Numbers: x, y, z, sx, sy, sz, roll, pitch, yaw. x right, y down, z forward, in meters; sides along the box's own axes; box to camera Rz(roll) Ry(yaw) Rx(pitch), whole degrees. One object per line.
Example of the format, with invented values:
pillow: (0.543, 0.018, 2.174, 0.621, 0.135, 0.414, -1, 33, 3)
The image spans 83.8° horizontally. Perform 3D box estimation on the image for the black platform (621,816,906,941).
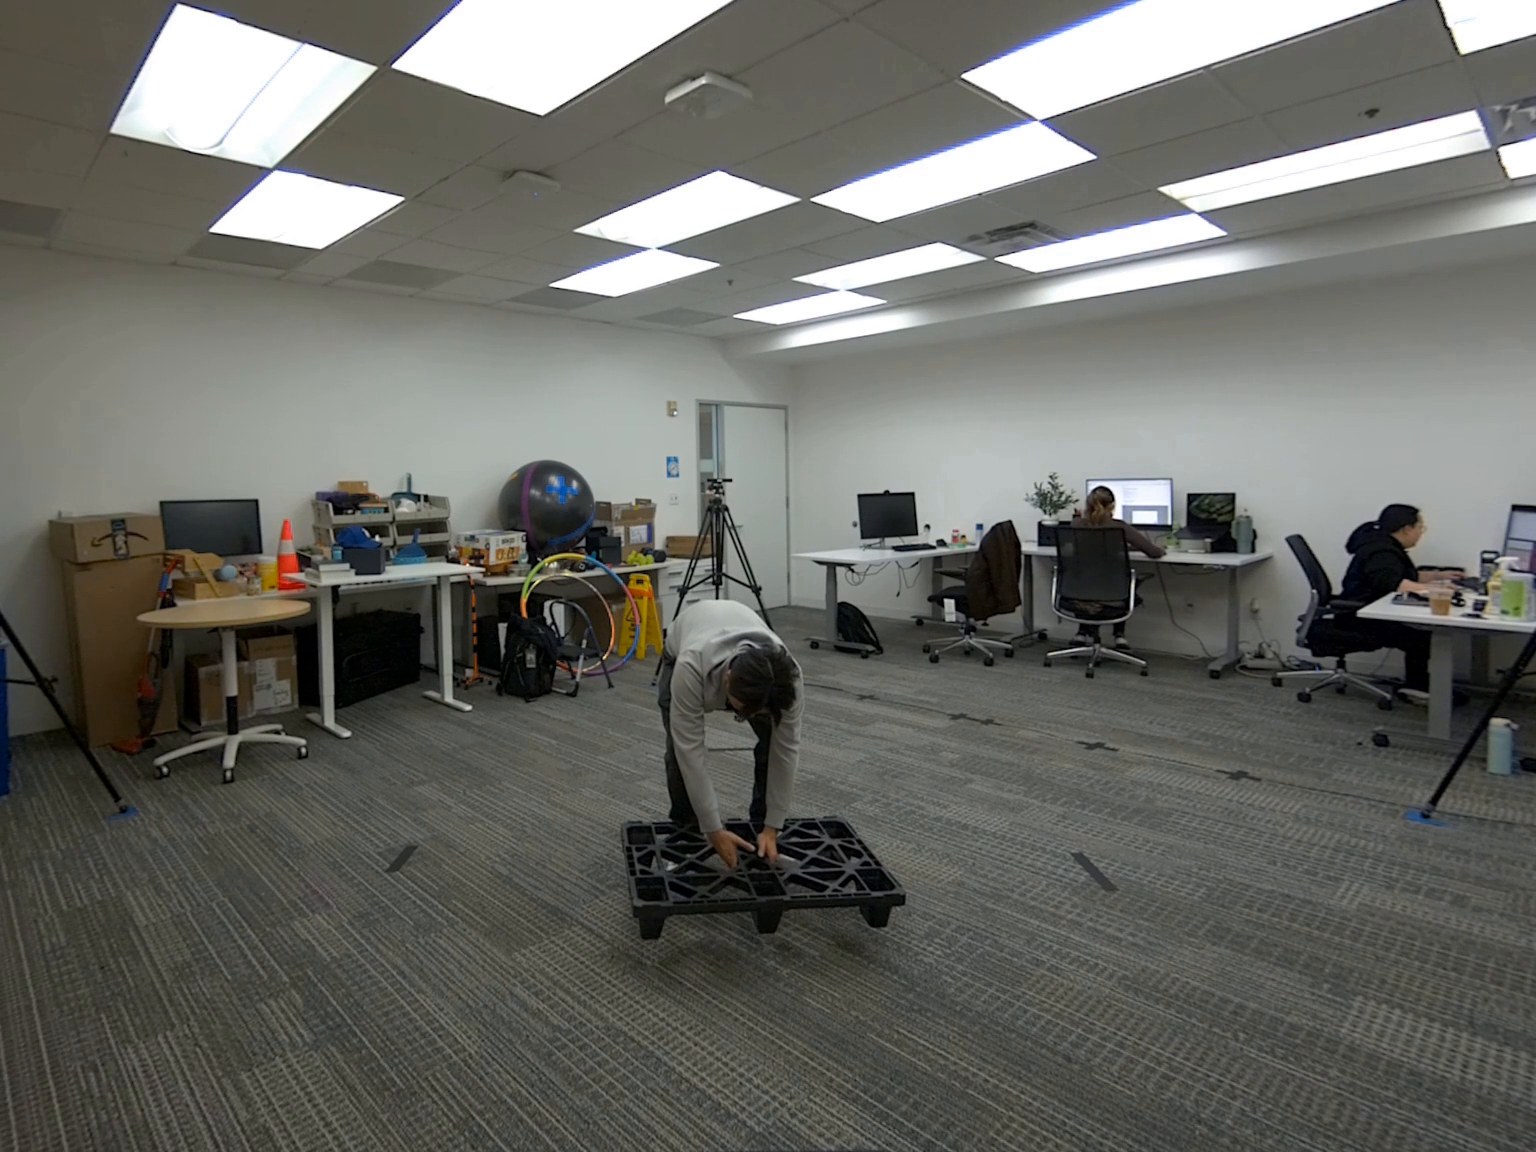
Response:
black platform: (-0.047, 0.952, 2.700, 0.797, 0.143, 0.614, 1, 6, -11)
